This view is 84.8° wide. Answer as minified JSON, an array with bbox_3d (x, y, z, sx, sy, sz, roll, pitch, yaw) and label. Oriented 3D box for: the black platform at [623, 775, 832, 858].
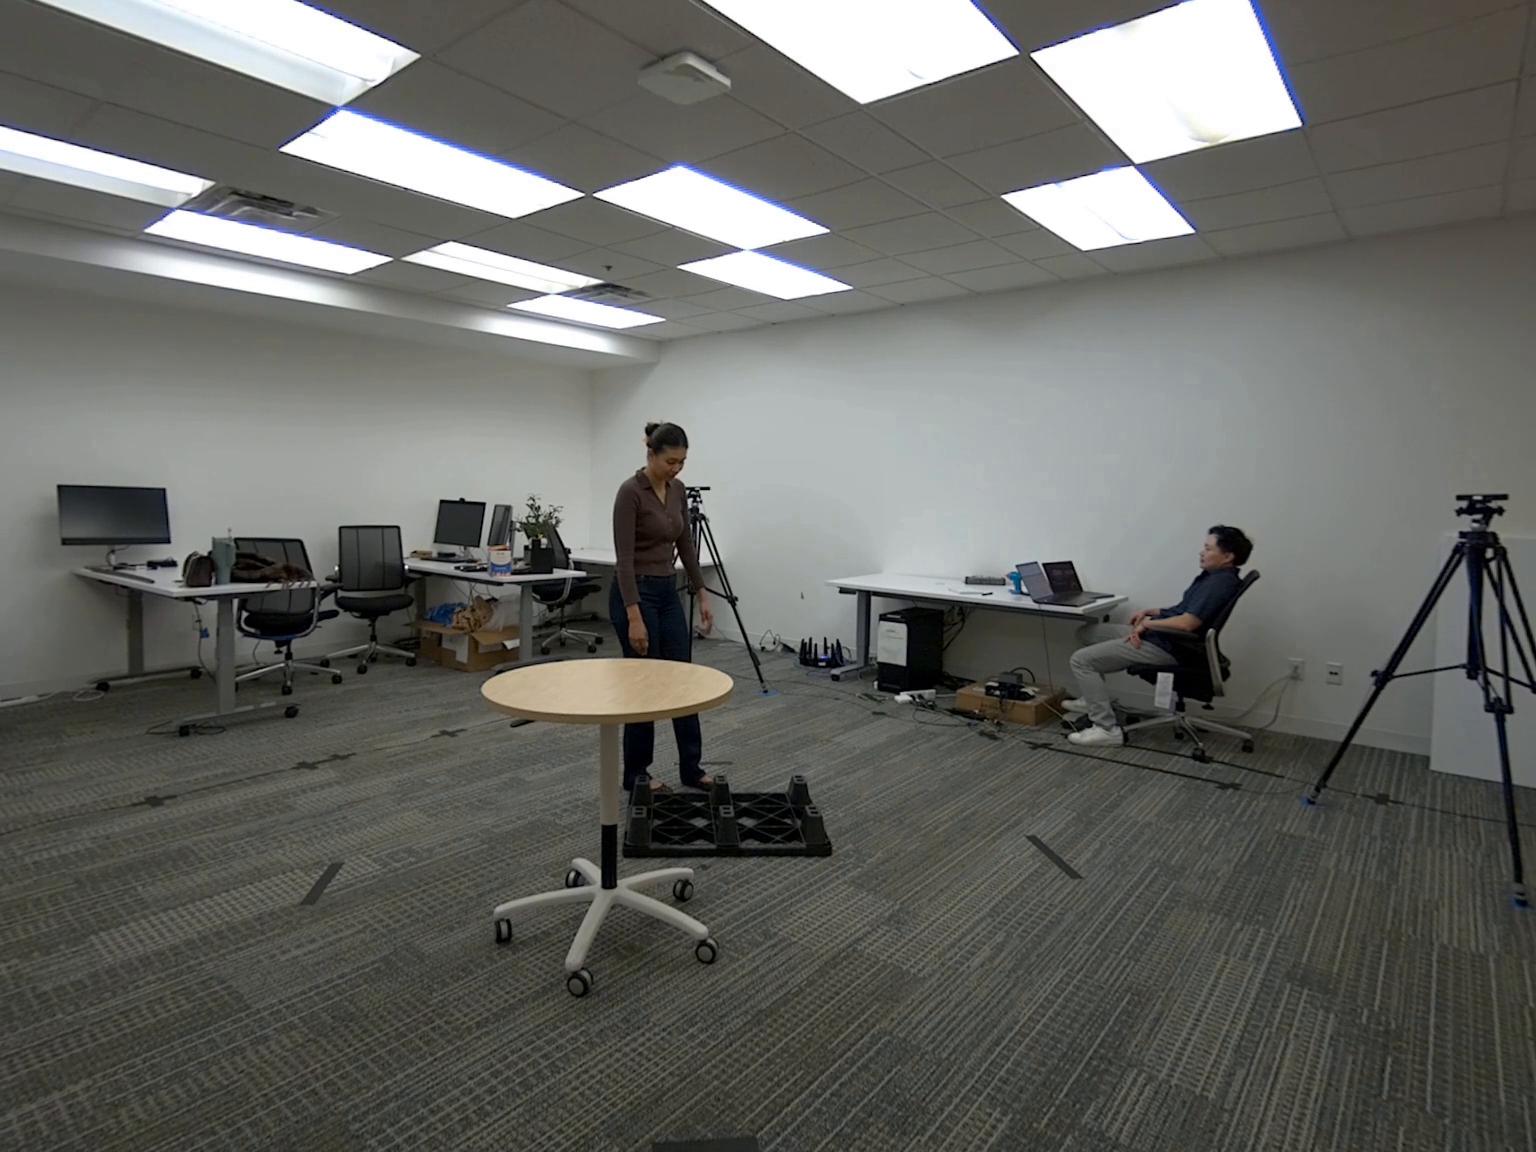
[{"bbox_3d":[-0.187,0.959,3.499,0.802,0.143,0.611,0,6,-5],"label":"black platform"}]
